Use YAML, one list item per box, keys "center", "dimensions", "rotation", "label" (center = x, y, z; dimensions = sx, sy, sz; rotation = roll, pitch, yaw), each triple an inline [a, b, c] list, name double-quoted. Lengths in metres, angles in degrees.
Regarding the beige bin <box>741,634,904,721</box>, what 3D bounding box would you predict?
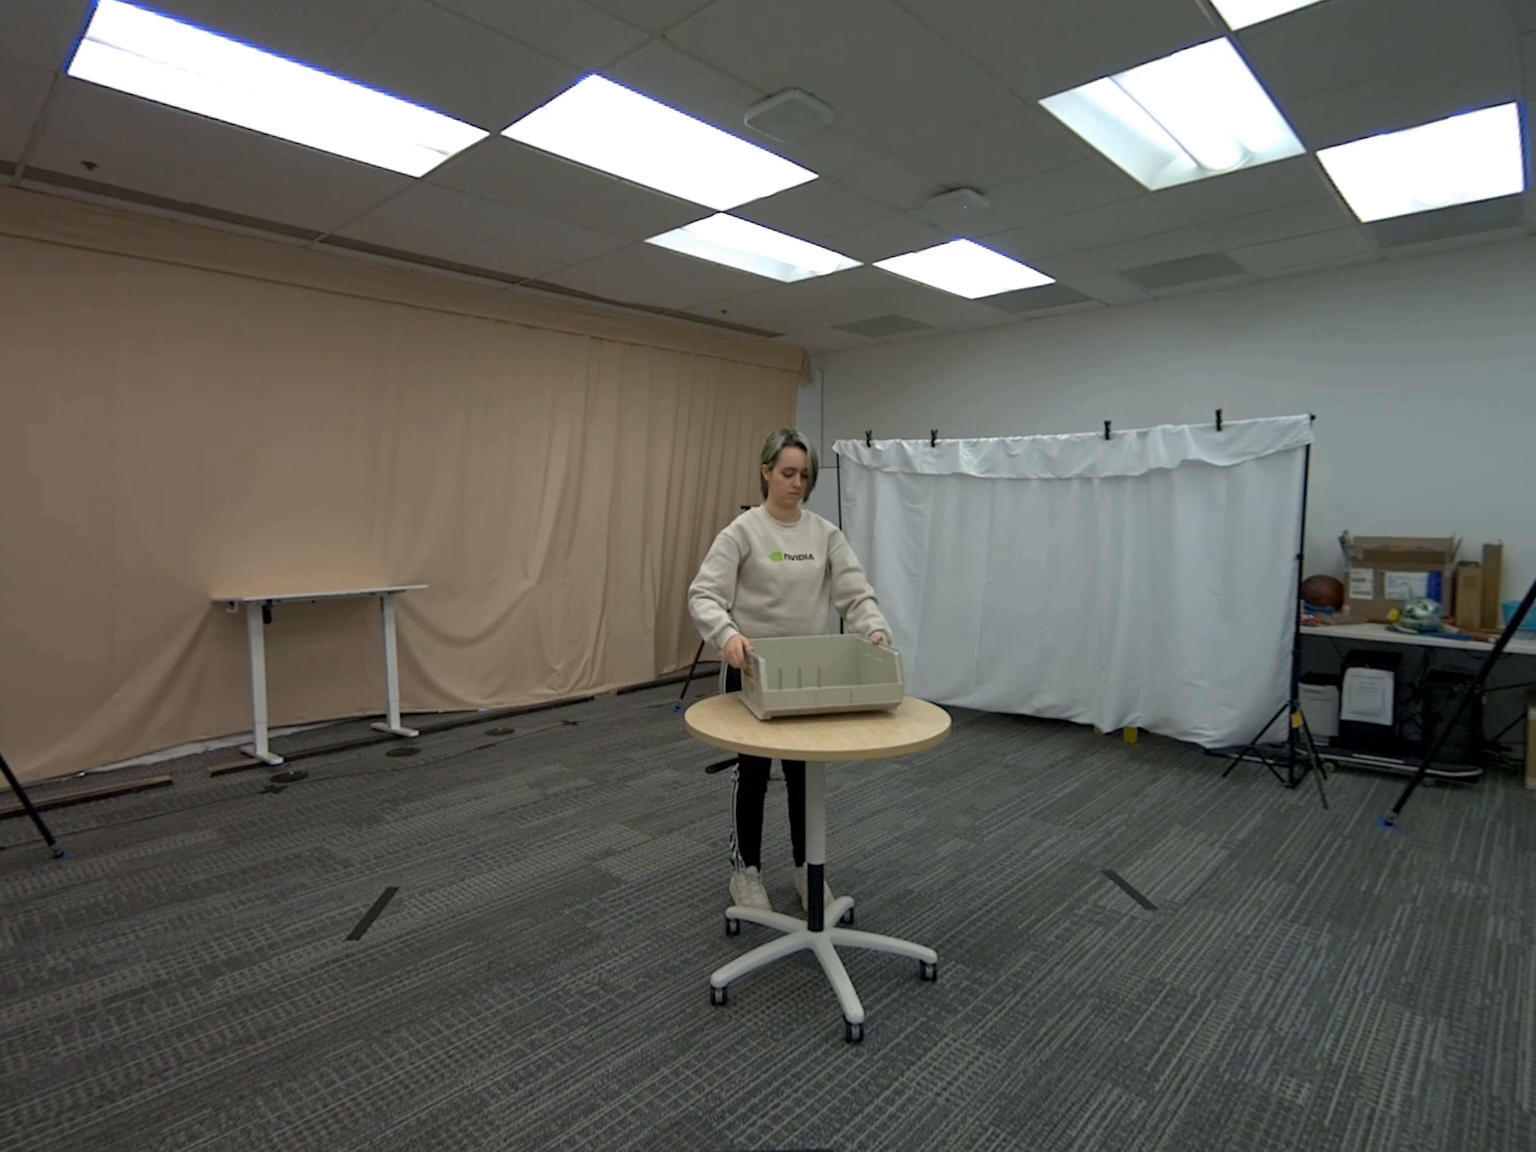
- center: [0.140, 0.295, 2.531]
  dimensions: [0.417, 0.188, 0.383]
  rotation: [-3, 4, -12]
  label: "beige bin"
